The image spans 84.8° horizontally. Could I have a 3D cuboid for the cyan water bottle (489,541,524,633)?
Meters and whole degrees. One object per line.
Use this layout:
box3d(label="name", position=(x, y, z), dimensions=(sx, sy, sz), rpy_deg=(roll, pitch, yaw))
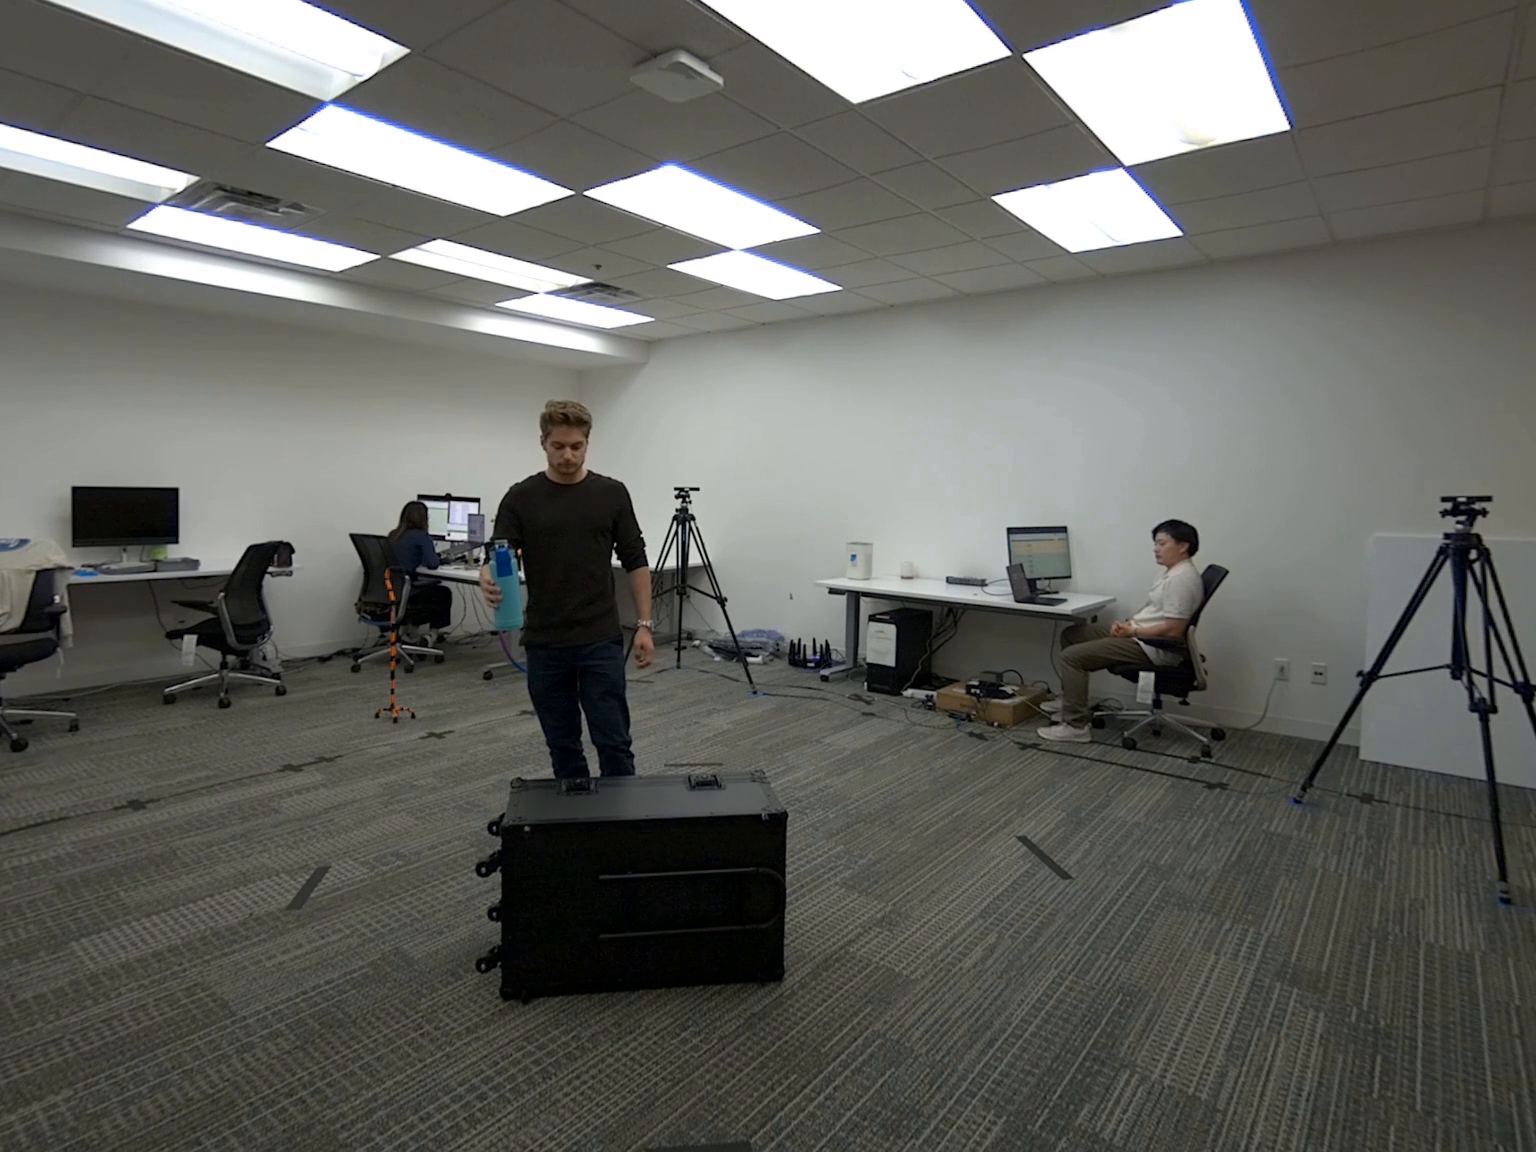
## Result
box3d(label="cyan water bottle", position=(-0.852, 0.022, 2.735), dimensions=(0.092, 0.280, 0.093), rpy_deg=(-4, 10, -1))
